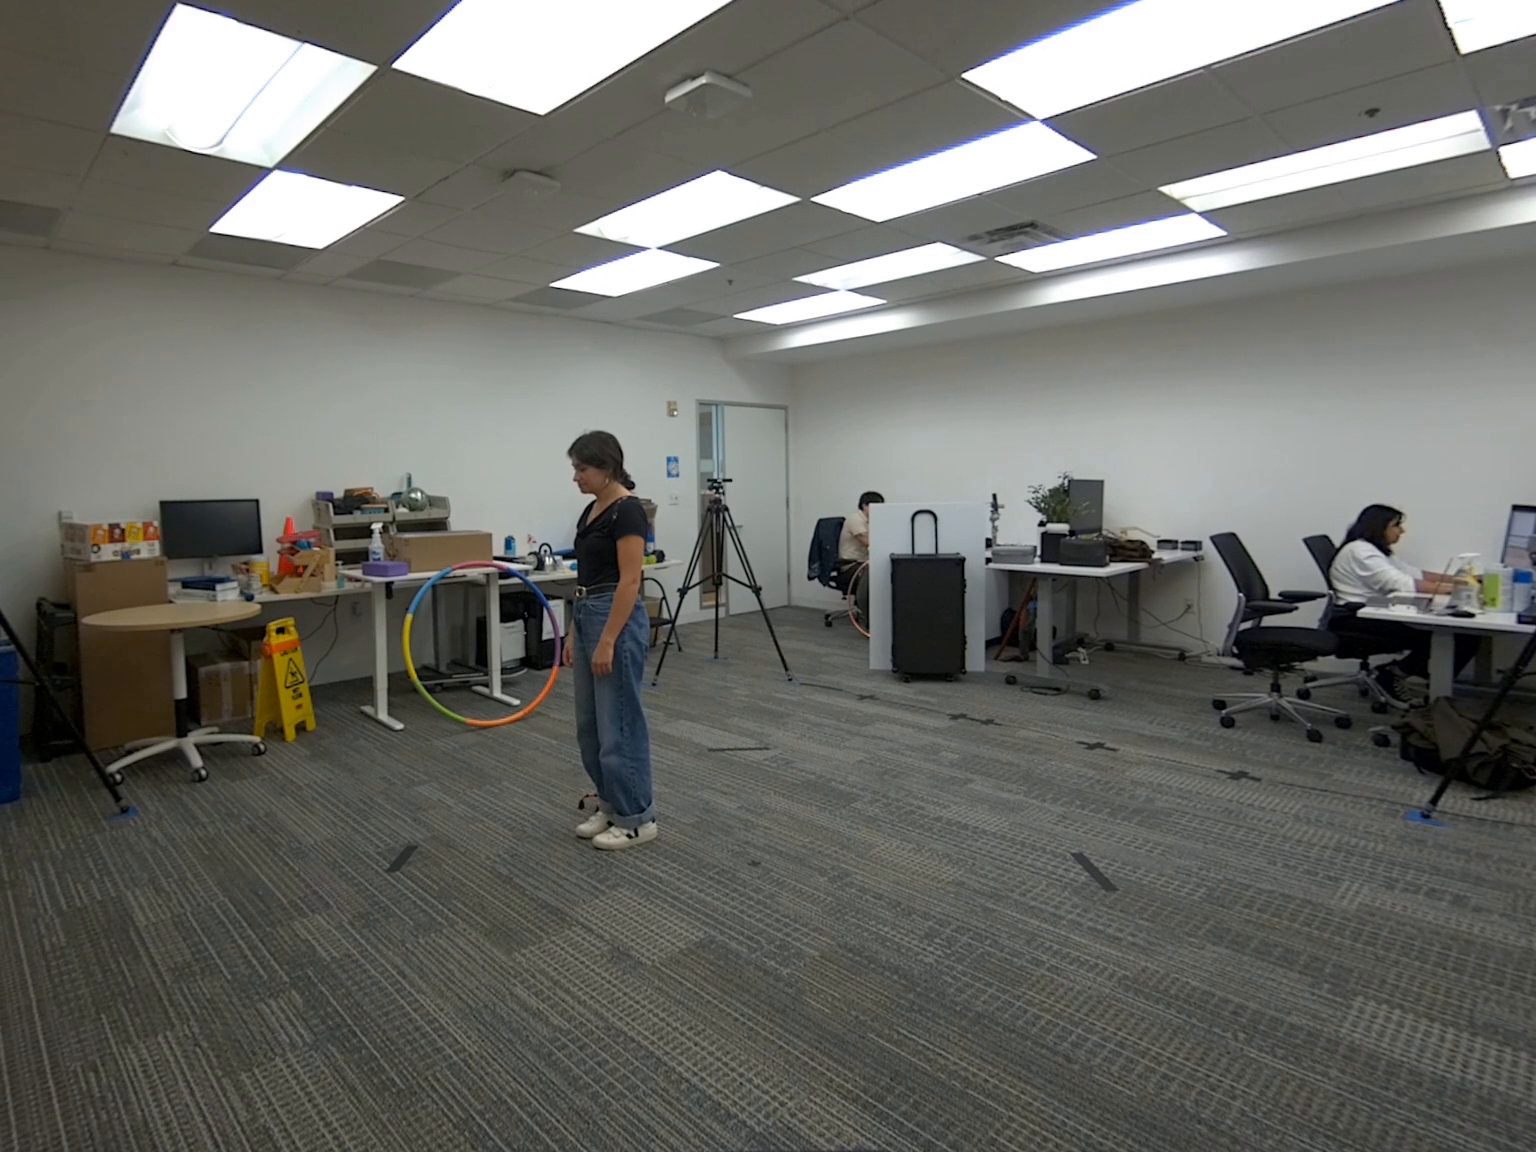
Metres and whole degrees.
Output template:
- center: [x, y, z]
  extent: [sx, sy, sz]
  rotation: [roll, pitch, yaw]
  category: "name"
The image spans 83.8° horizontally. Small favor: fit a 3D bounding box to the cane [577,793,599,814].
- center: [-0.699, 0.545, 3.675]
  extent: [0.156, 0.905, 0.201]
  rotation: [2, 4, 43]
  category: "cane"
